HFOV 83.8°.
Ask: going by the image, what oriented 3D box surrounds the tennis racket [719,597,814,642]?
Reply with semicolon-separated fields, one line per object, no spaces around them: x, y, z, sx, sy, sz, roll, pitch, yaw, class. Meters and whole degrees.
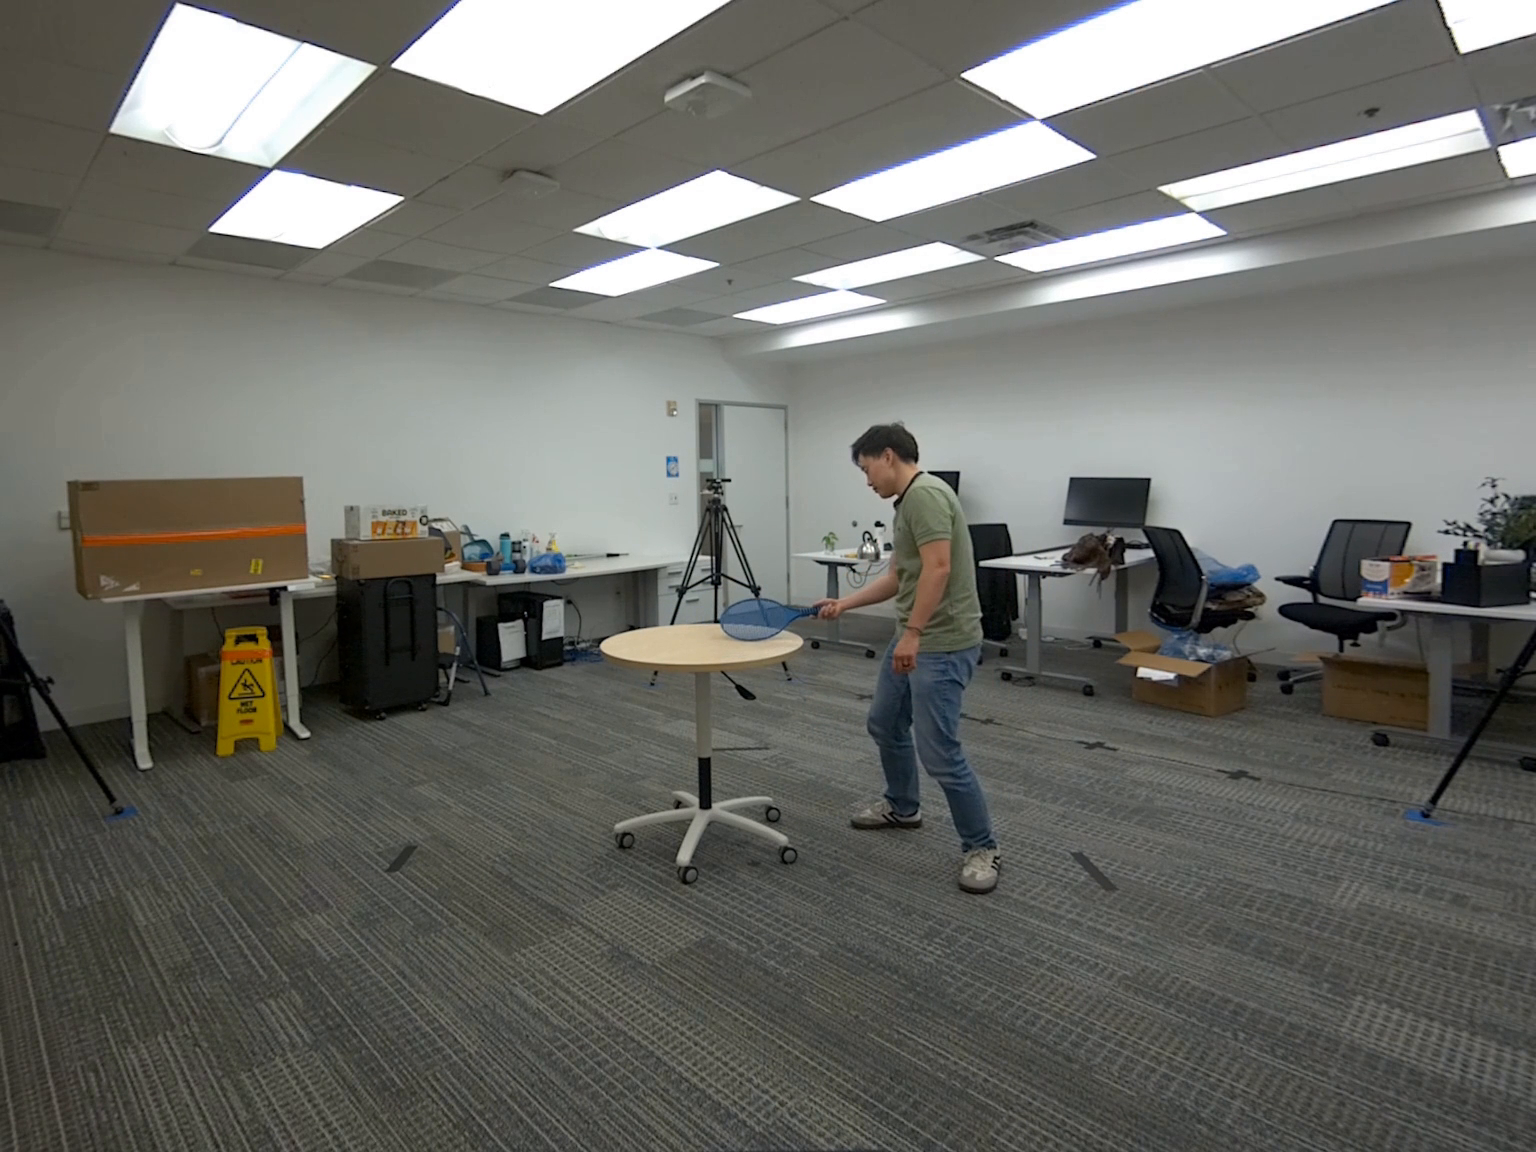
0.028;0.155;3.303;0.432;0.031;0.220;-7;43;-1;tennis racket
